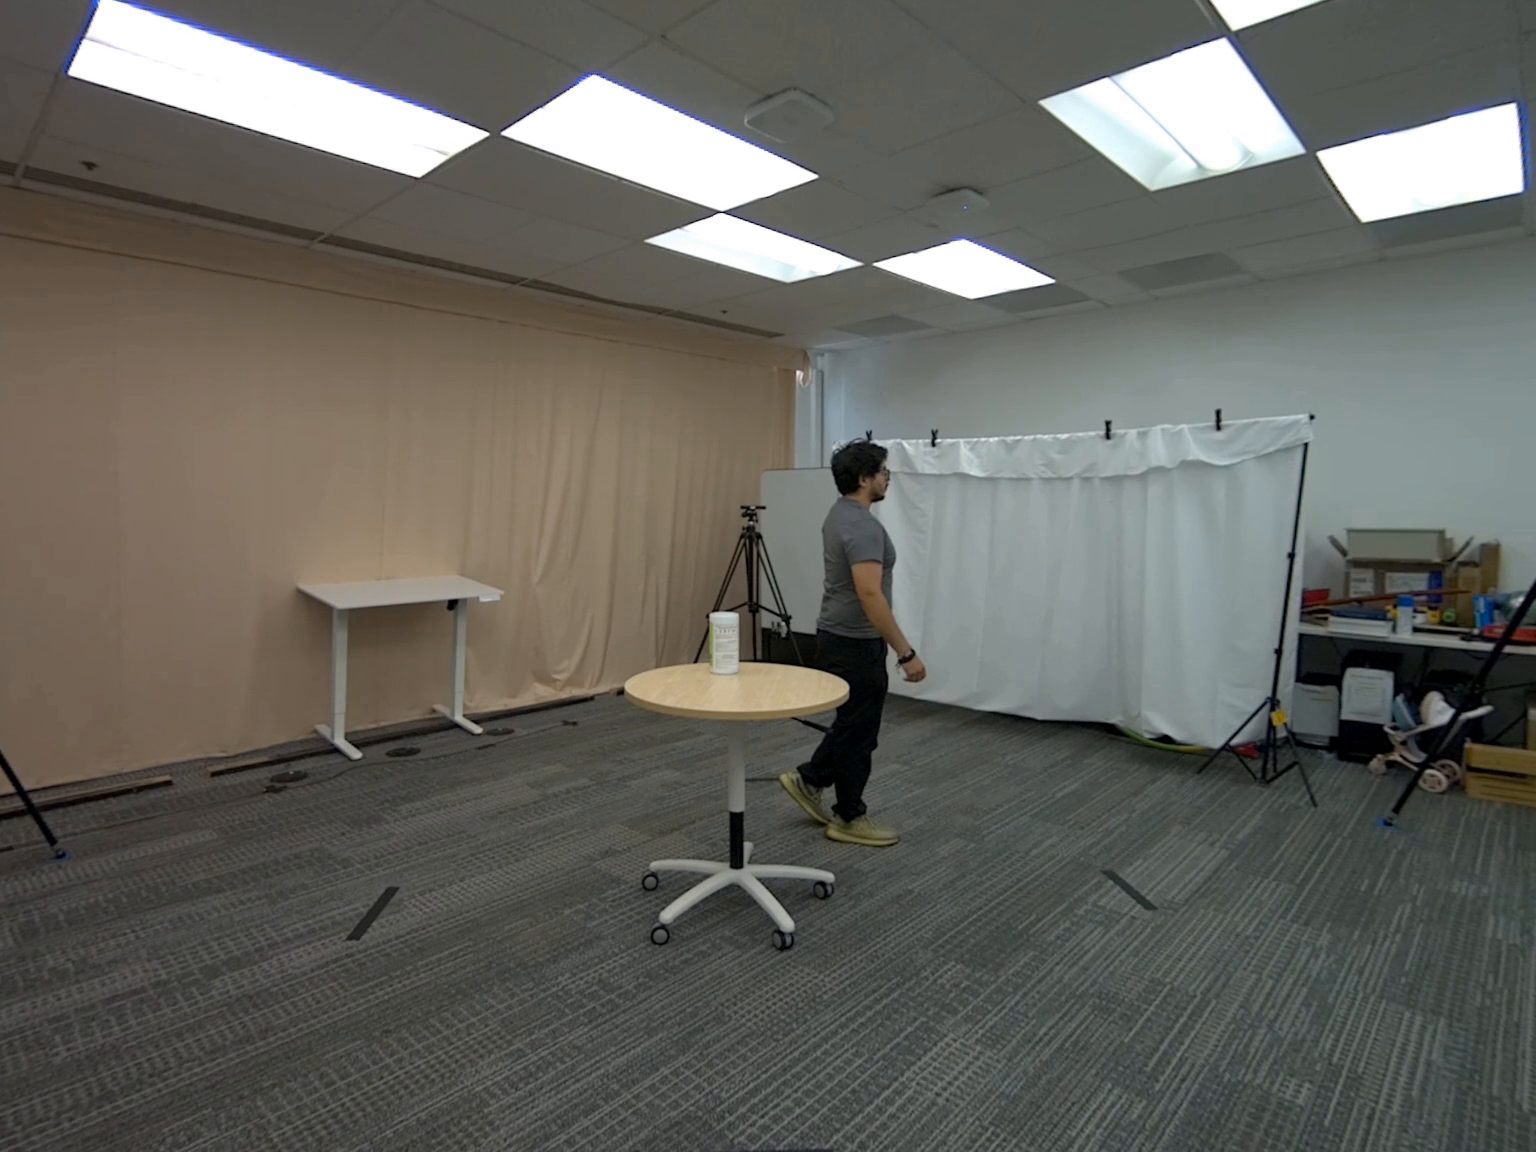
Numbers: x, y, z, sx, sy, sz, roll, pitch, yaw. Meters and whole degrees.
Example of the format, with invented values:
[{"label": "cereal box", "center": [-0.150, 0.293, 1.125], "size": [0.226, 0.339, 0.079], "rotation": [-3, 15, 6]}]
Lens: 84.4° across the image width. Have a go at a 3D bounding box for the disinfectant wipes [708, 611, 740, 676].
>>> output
[{"label": "disinfectant wipes", "center": [-0.155, 0.249, 3.075], "size": [0.118, 0.217, 0.118], "rotation": [0, 3, -2]}]
